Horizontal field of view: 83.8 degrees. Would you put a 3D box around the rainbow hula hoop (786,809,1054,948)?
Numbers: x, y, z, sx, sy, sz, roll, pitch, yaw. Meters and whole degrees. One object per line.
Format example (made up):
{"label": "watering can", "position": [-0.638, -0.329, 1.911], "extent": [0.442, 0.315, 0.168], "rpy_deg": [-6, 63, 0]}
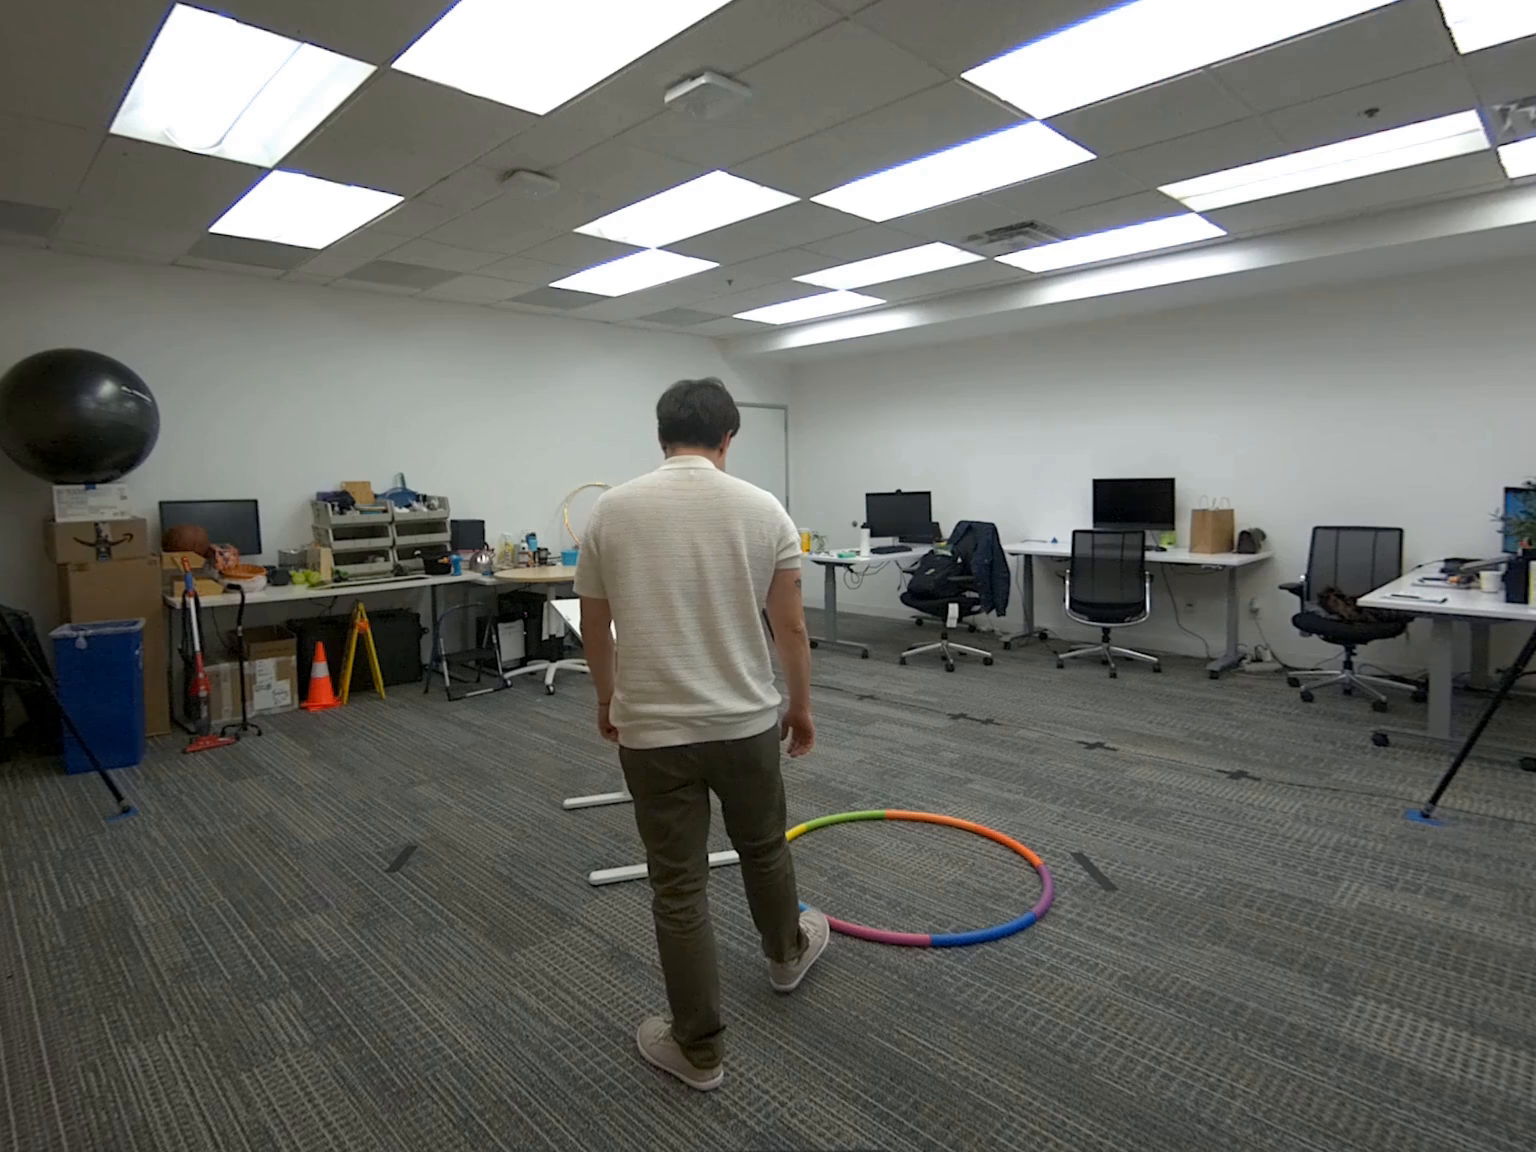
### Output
{"label": "rainbow hula hoop", "position": [0.477, 1.014, 3.012], "extent": [0.978, 0.035, 0.984], "rpy_deg": [-1, 6, -2]}
